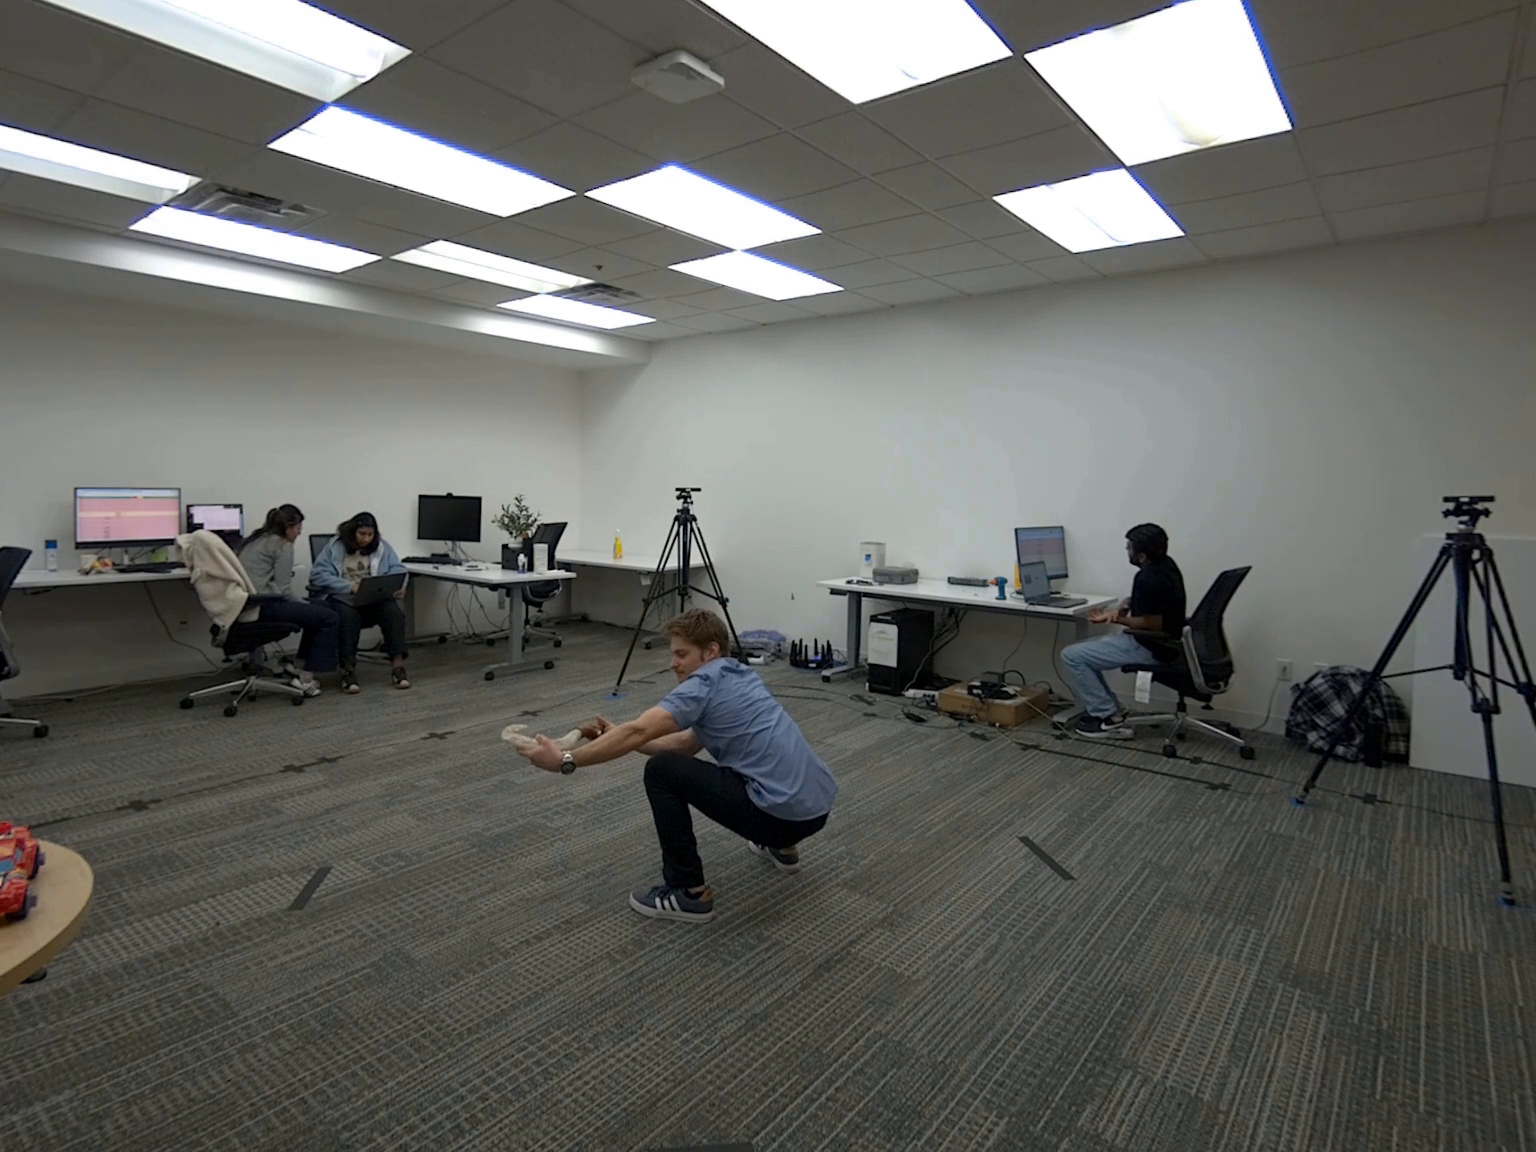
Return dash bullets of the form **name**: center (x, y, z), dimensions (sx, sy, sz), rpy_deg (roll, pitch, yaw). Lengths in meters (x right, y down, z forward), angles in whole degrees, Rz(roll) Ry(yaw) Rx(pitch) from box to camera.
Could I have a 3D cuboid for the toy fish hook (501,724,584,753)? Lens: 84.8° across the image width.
- **toy fish hook**: center (-0.699, 0.510, 2.816), dimensions (0.229, 0.048, 0.497), rpy_deg (19, 2, 13)
